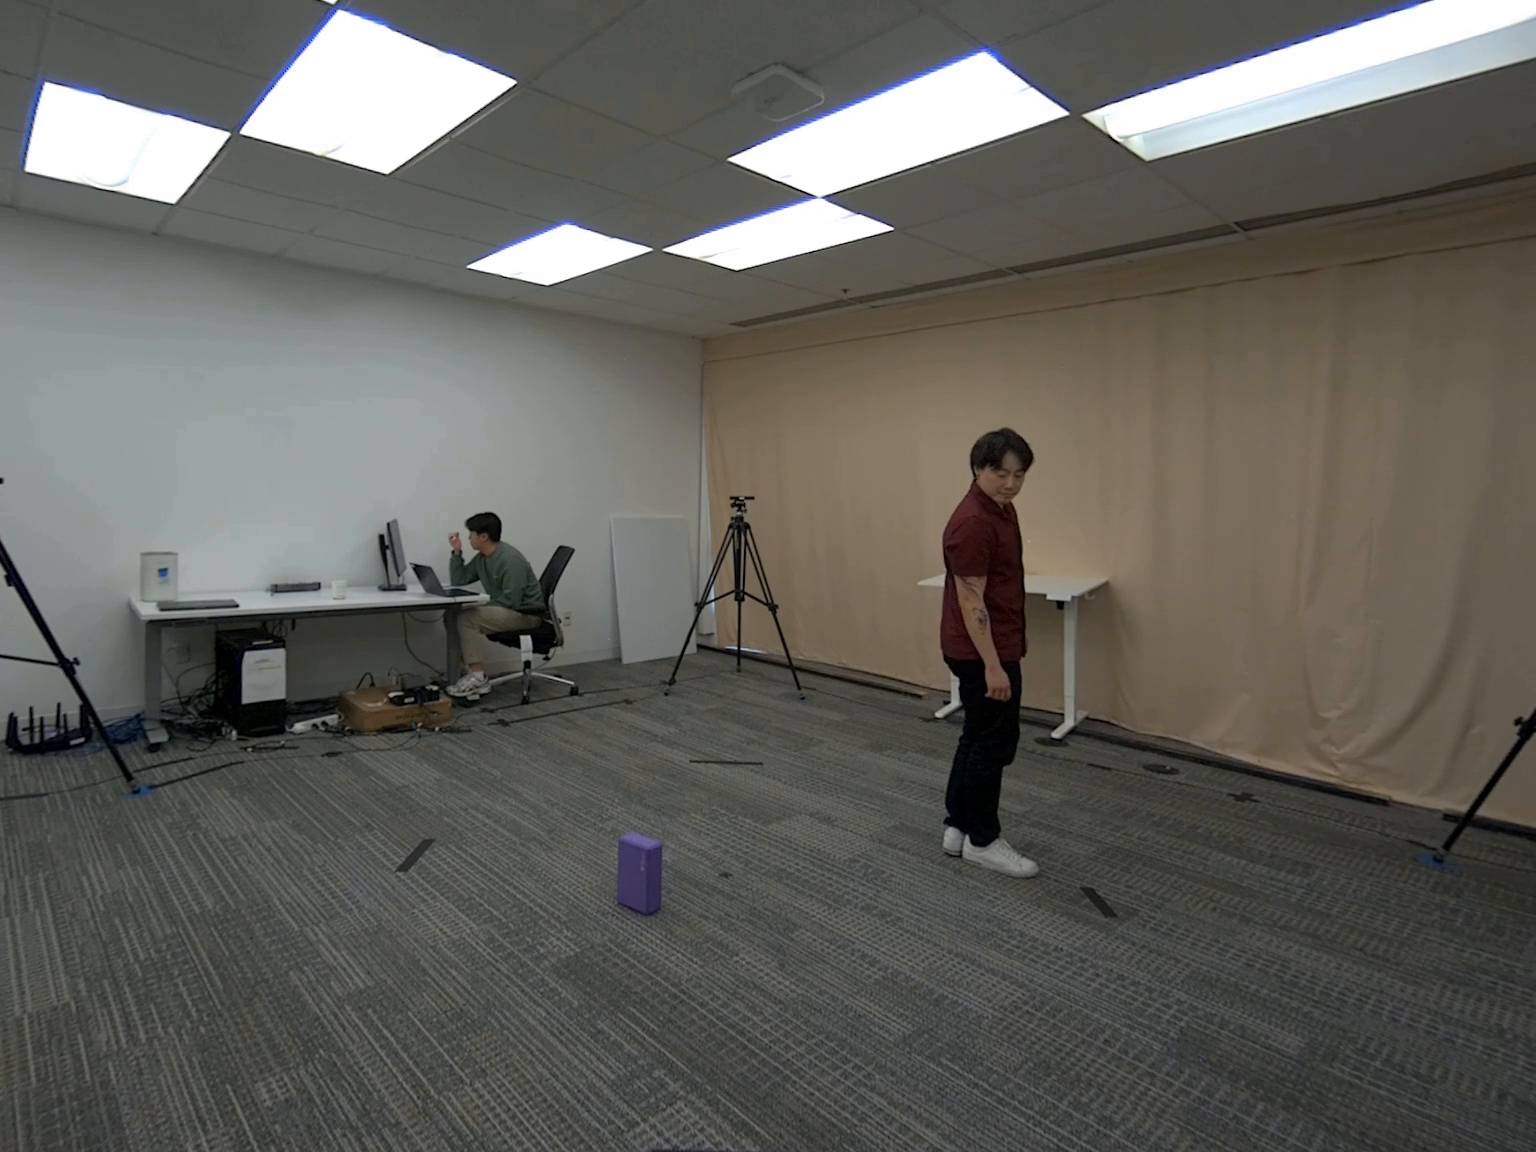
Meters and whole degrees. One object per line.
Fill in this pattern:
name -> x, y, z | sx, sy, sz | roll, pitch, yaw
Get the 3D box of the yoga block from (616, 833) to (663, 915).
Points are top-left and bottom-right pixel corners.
yoga block -> -0.441, 1.007, 2.844 | 0.152, 0.229, 0.075 | 3, 3, 35
